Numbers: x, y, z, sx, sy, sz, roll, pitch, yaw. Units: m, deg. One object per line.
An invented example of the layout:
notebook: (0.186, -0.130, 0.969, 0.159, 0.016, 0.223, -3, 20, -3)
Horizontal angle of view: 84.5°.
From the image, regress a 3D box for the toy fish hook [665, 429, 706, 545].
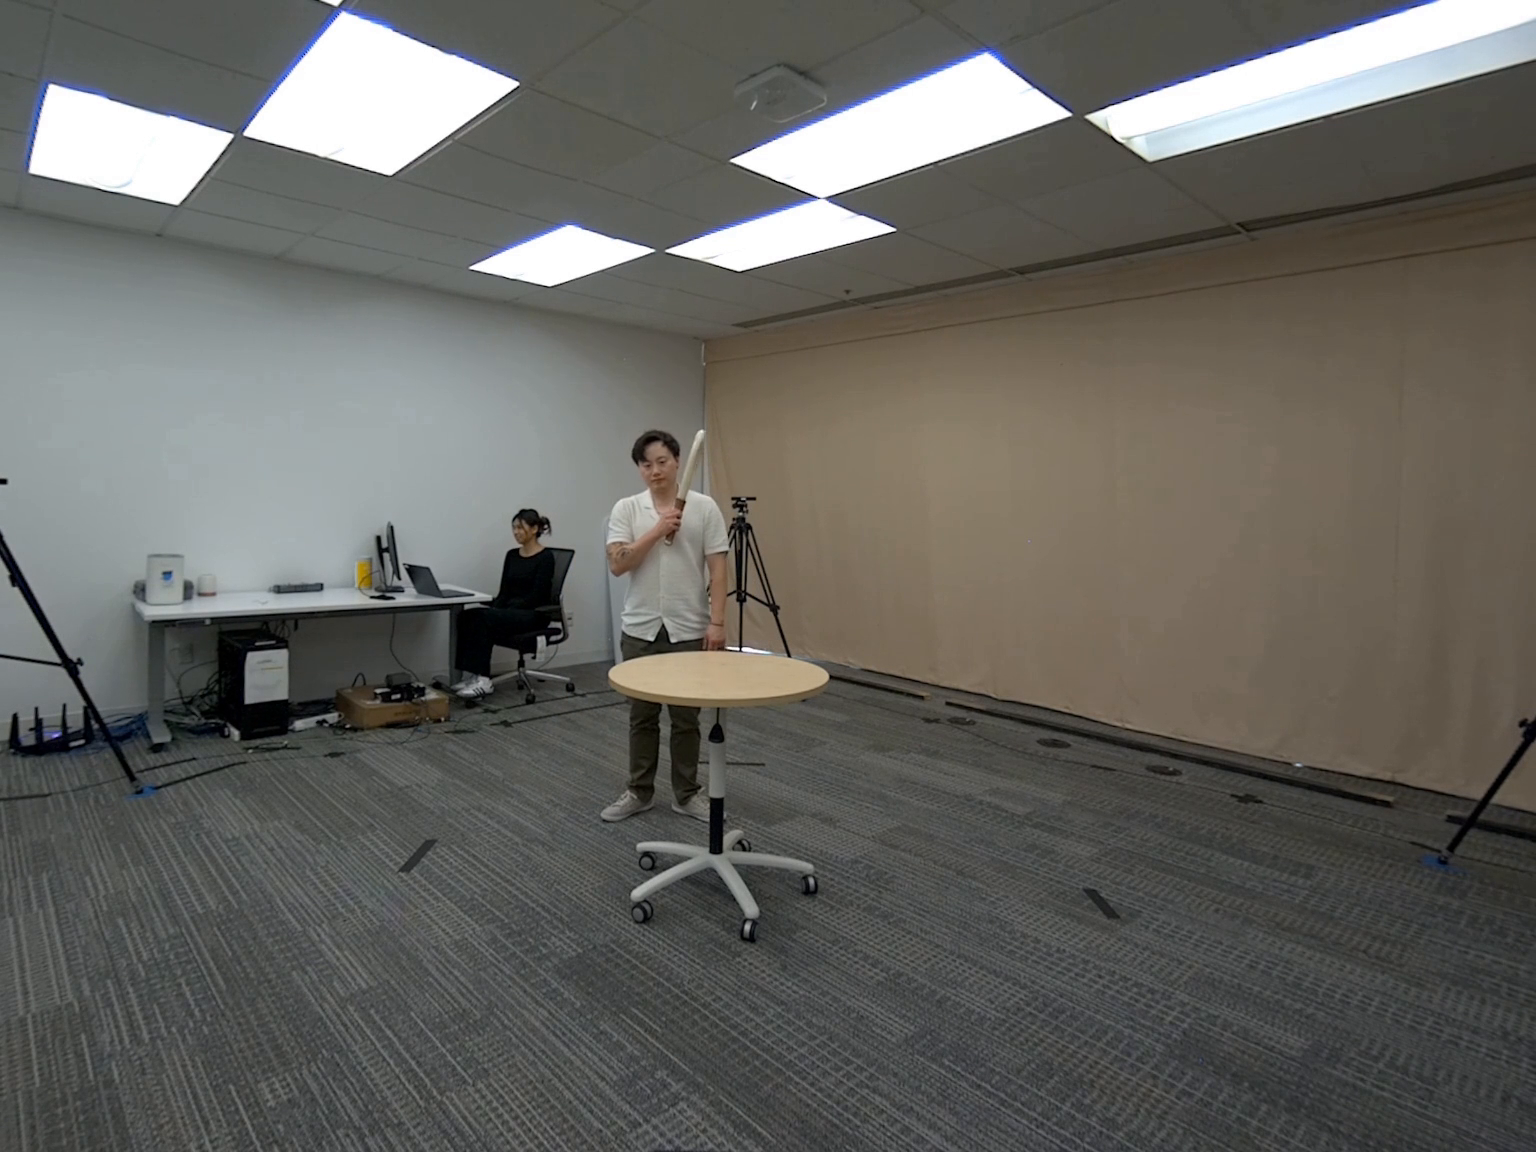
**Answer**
toy fish hook: (-0.352, -0.362, 3.548, 0.049, 0.506, 0.223, 17, 1, 7)
